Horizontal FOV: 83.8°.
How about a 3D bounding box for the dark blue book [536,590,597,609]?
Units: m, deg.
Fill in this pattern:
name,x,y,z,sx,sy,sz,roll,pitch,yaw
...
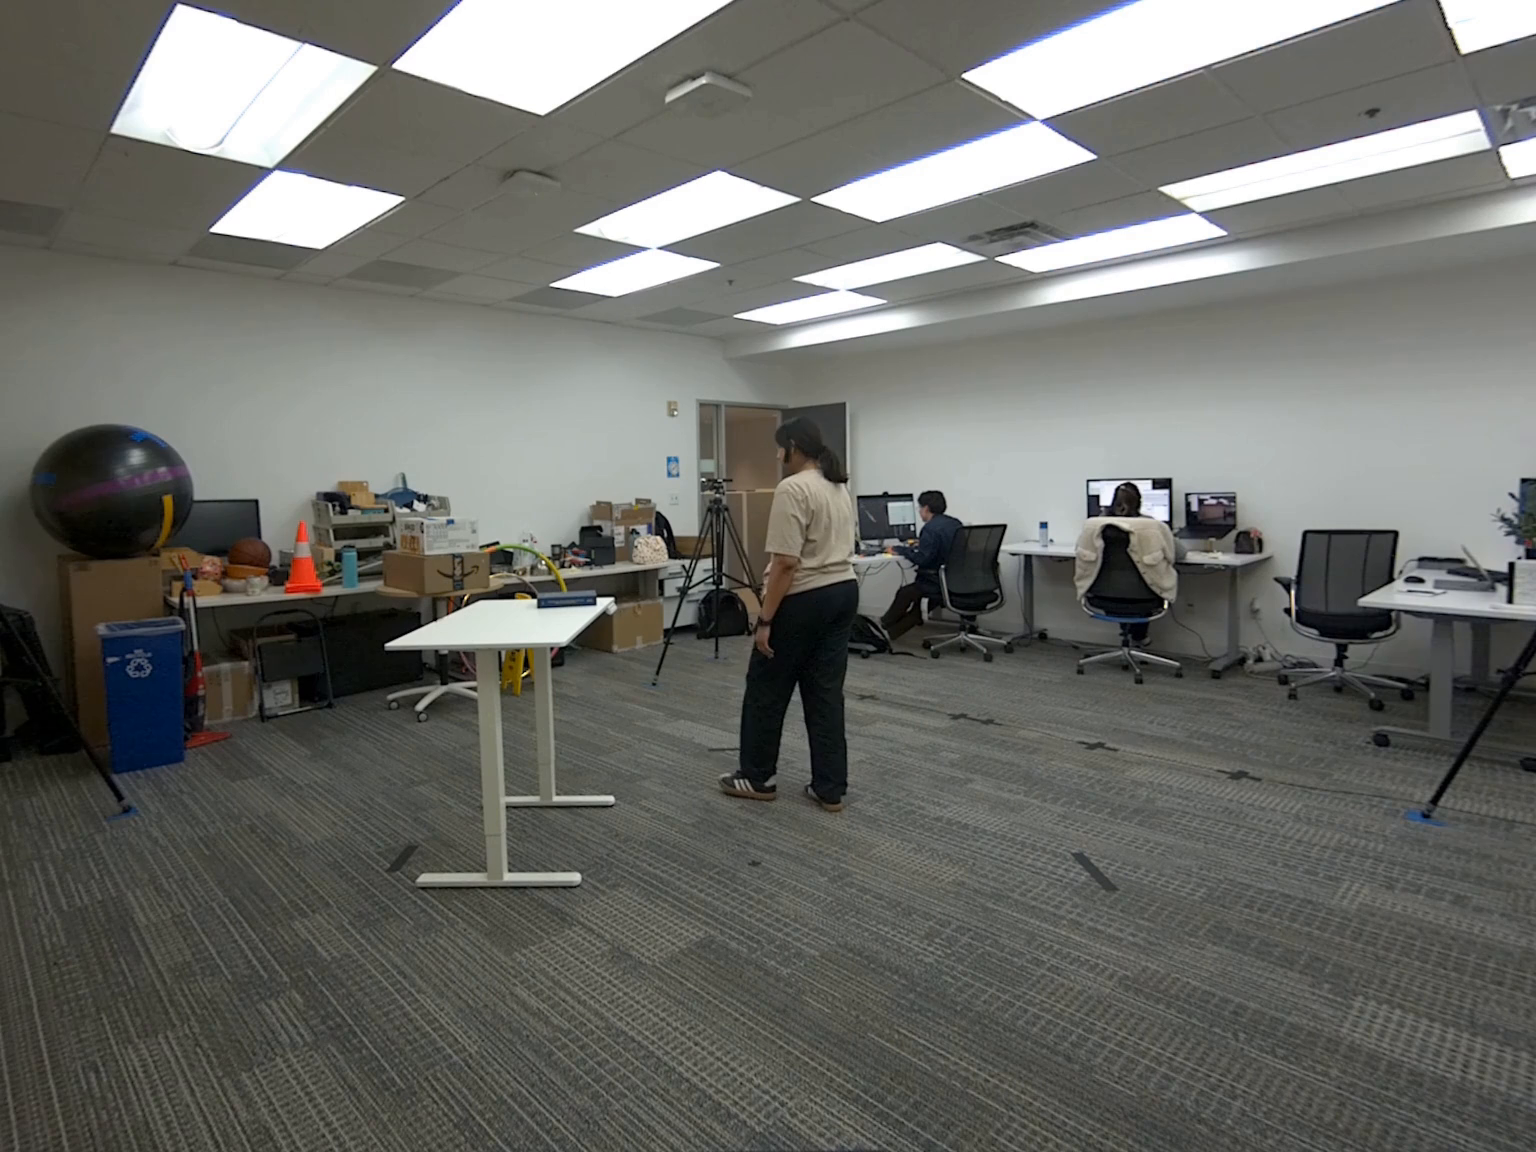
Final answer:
name,x,y,z,sx,sy,sz,roll,pitch,yaw
dark blue book,-0.863,0.100,3.616,0.243,0.045,0.166,-4,6,-11
